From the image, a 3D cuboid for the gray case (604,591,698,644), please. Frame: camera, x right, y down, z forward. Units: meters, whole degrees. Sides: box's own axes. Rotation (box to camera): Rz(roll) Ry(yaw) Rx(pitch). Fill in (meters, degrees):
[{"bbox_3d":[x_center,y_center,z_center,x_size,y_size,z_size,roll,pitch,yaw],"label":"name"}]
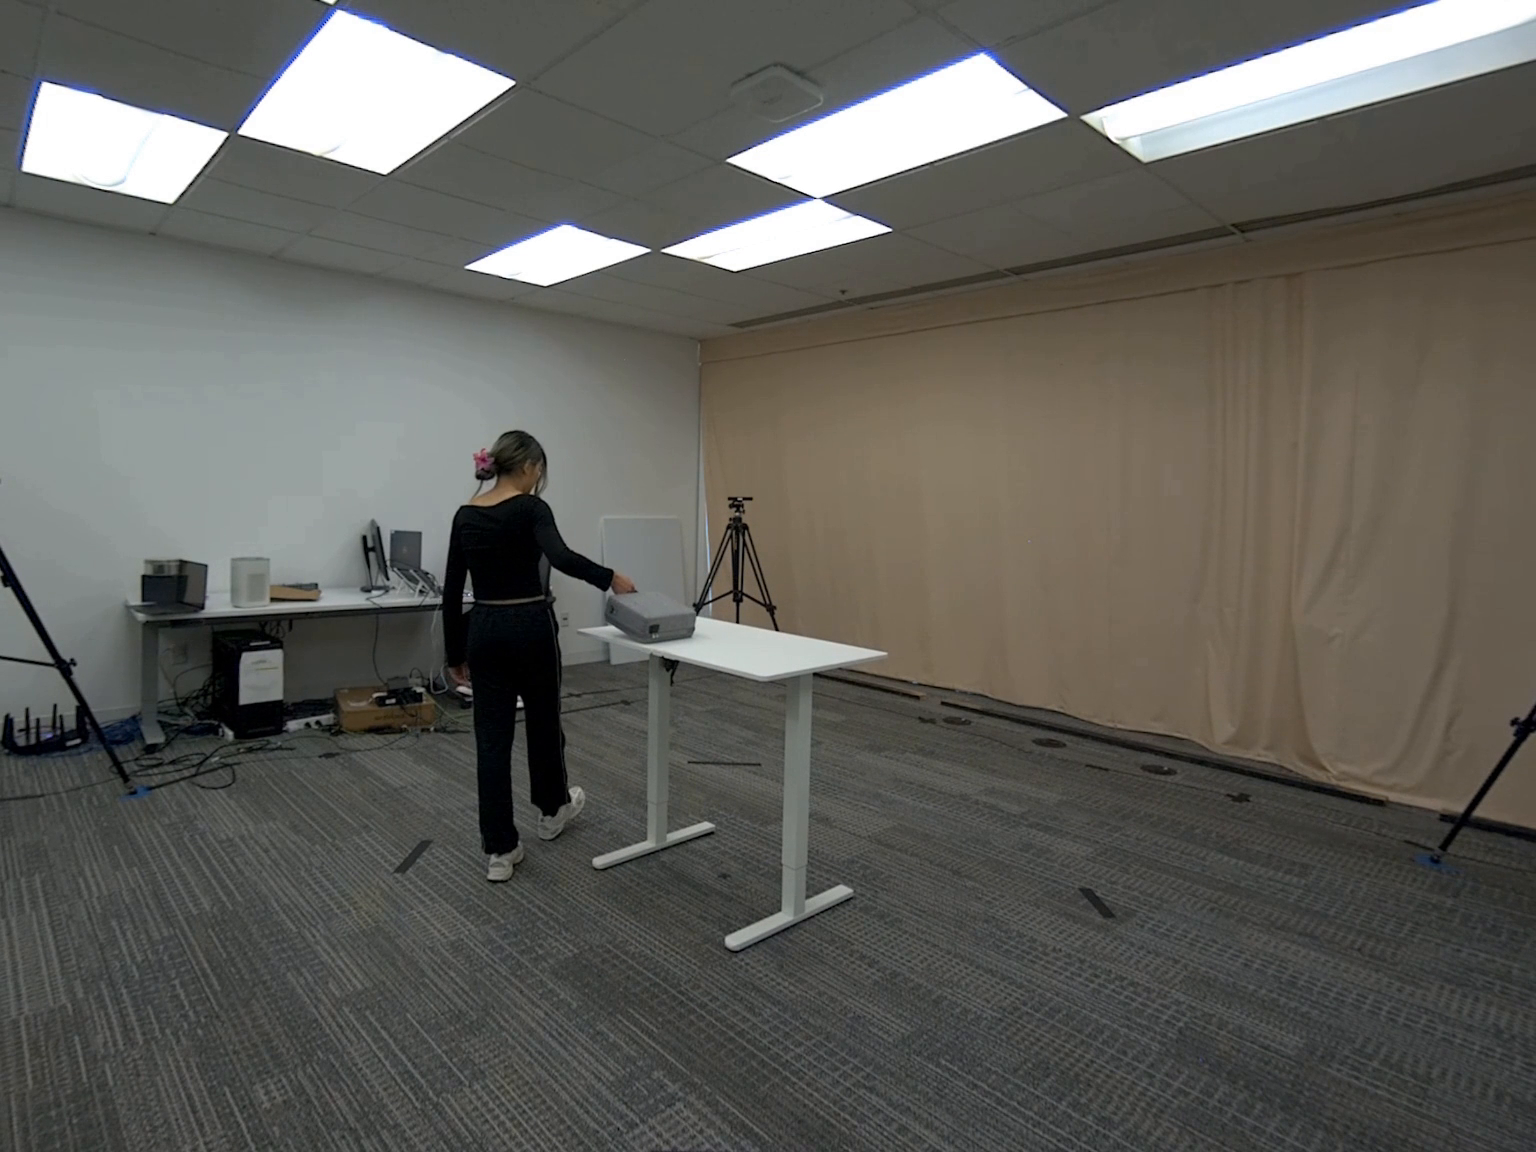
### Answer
[{"bbox_3d":[-0.428,0.146,3.049,0.268,0.103,0.251,23,20,39],"label":"gray case"}]
